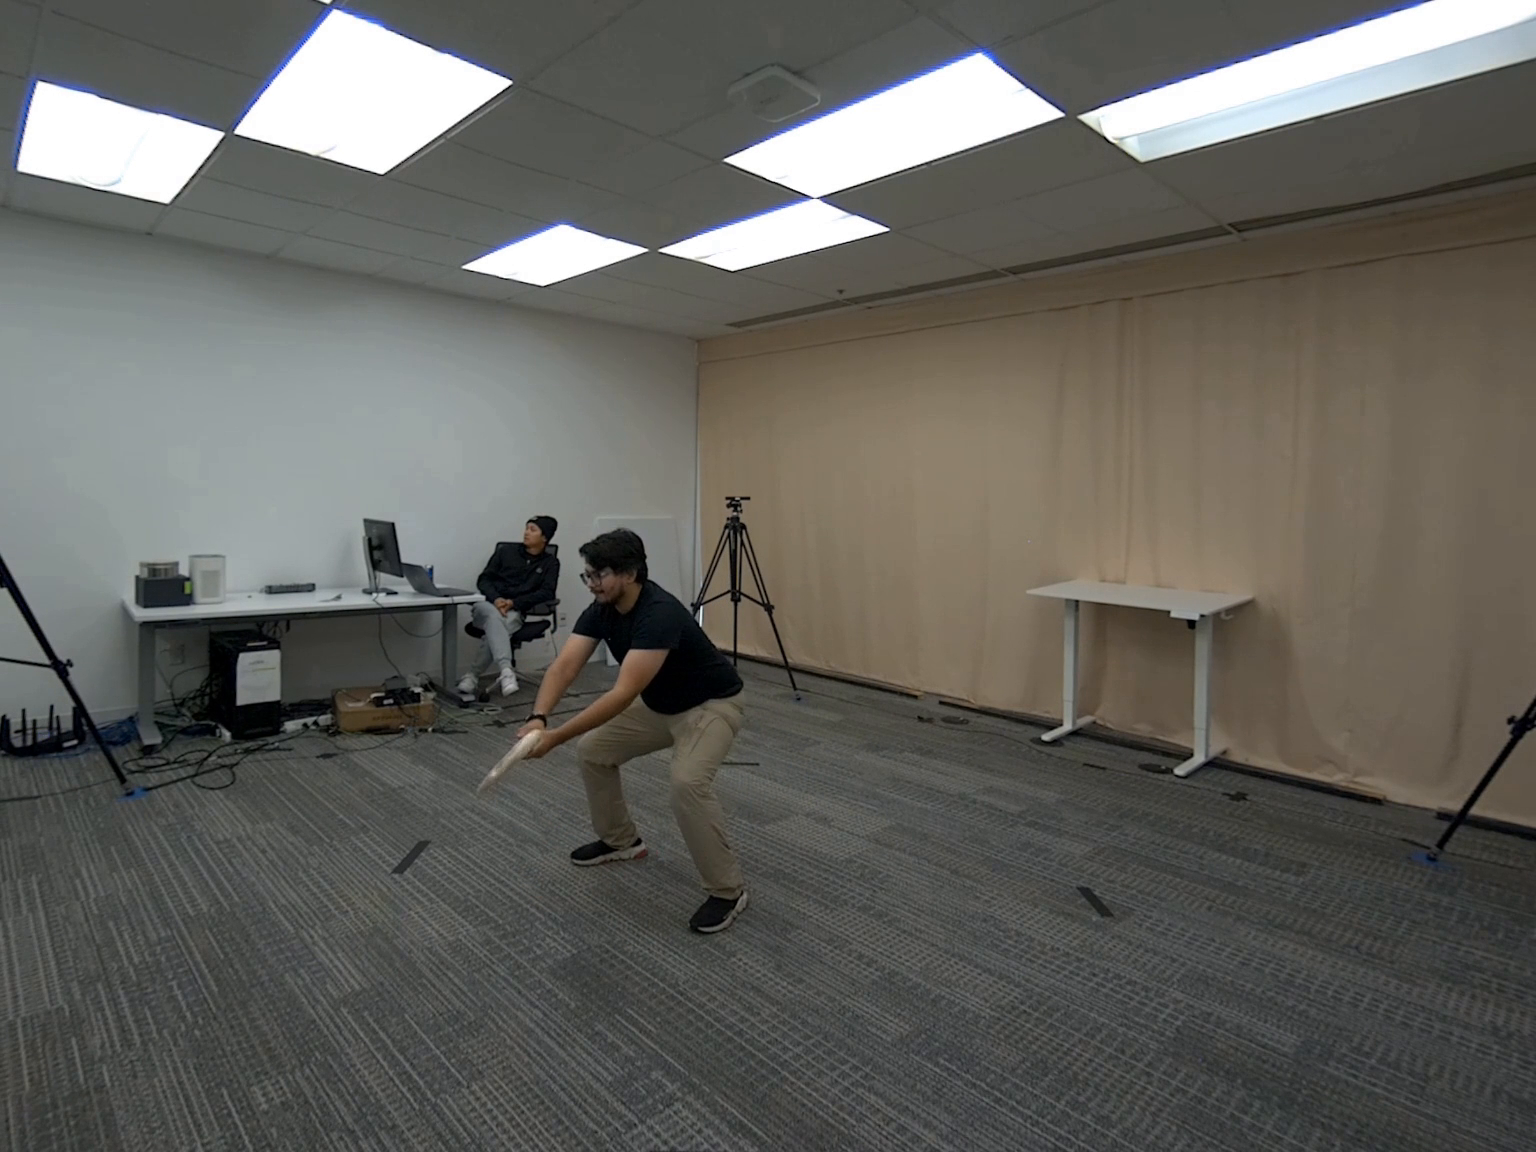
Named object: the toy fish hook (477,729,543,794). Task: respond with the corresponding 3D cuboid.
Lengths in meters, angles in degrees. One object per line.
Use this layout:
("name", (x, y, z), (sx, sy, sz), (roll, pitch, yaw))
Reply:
("toy fish hook", (-0.721, 0.520, 2.378), (0.224, 0.048, 0.506), (-42, 0, -11))
